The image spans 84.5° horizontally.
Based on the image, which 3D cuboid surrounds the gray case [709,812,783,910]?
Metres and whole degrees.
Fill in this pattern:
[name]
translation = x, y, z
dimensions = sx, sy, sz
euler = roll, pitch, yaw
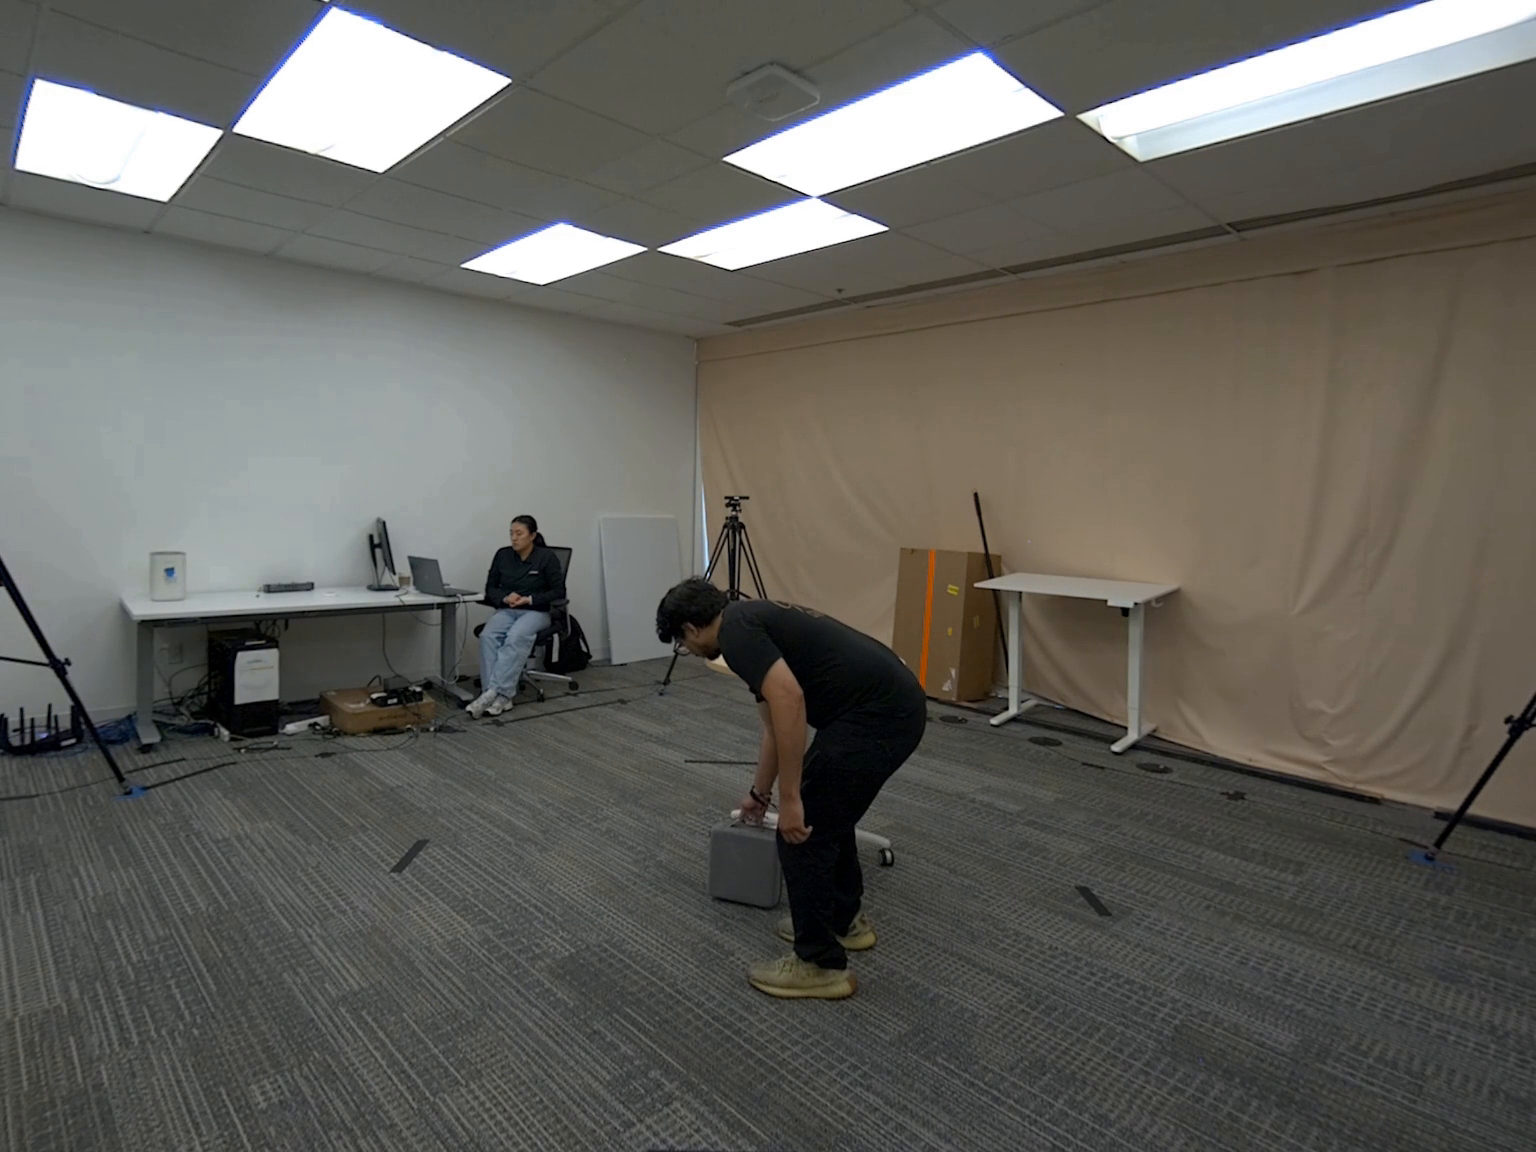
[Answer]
[gray case]
translation = -0.082, 0.985, 2.903
dimensions = 0.261, 0.260, 0.103
euler = 3, 5, 18
